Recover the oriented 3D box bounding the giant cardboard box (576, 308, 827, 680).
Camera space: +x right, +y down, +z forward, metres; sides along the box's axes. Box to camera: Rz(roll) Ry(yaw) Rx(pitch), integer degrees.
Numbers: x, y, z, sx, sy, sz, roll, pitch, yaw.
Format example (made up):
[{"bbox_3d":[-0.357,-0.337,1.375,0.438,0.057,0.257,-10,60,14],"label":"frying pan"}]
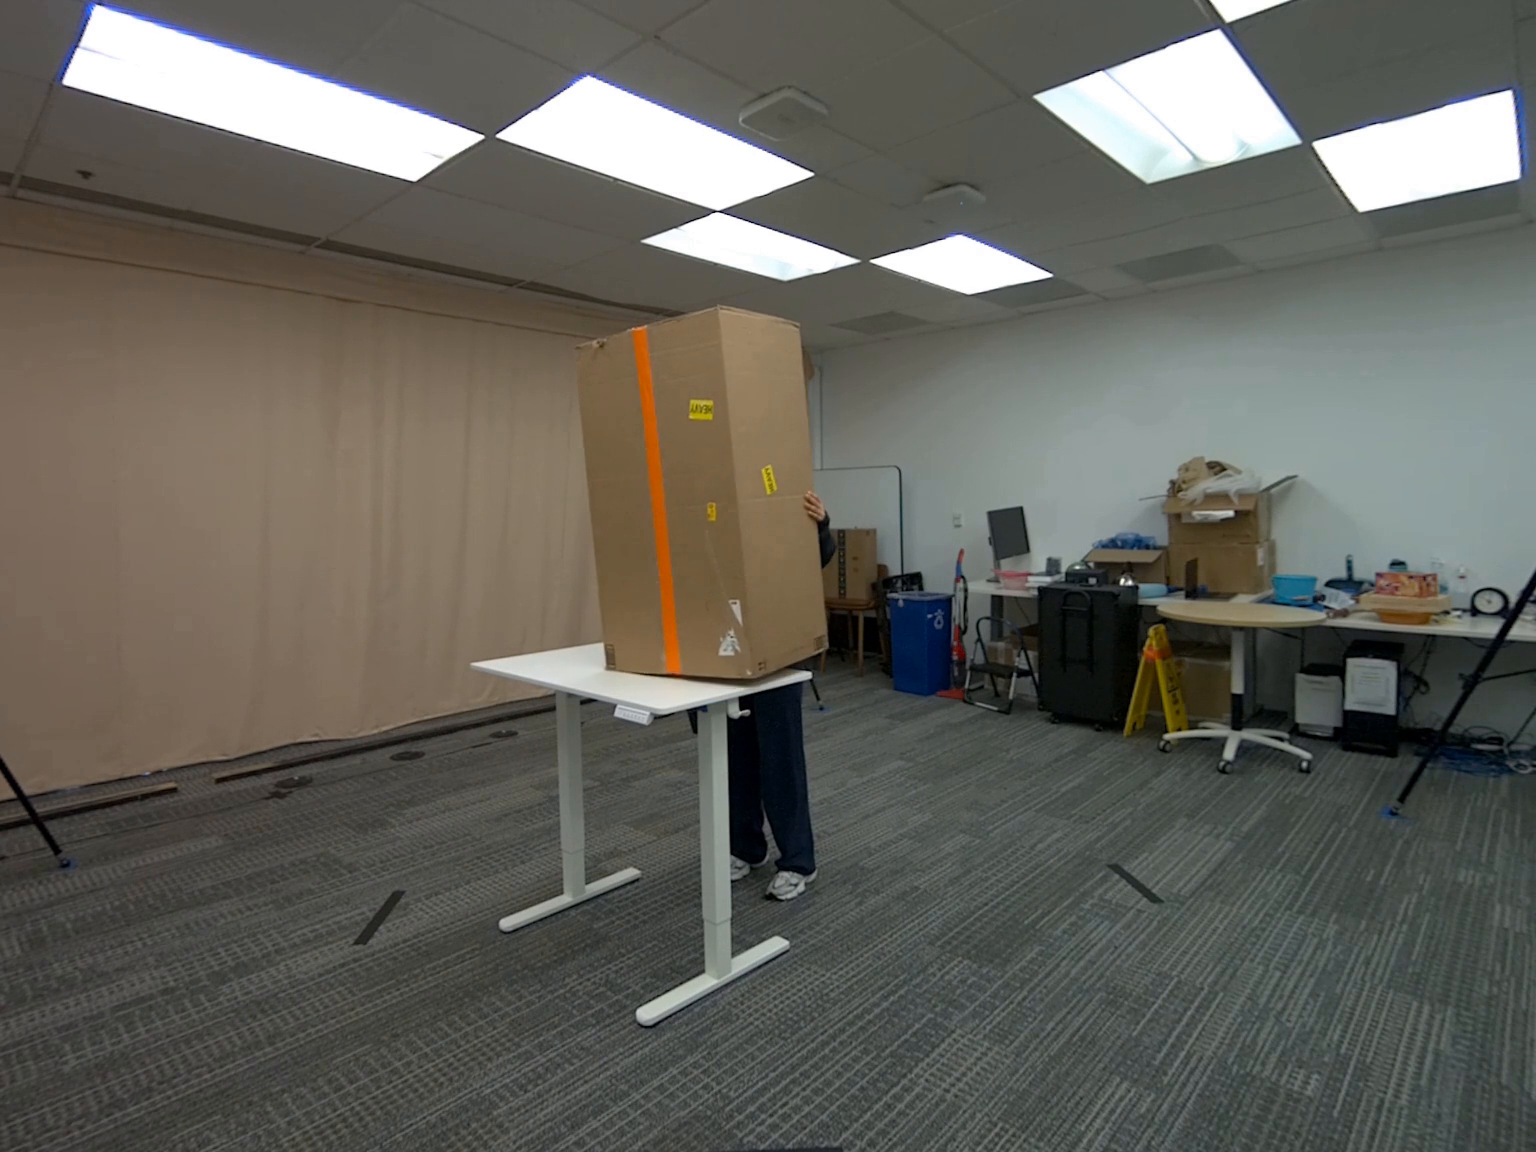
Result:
[{"bbox_3d":[-0.194,-0.237,2.628,0.595,1.024,0.415,-3,4,35],"label":"giant cardboard box"}]
